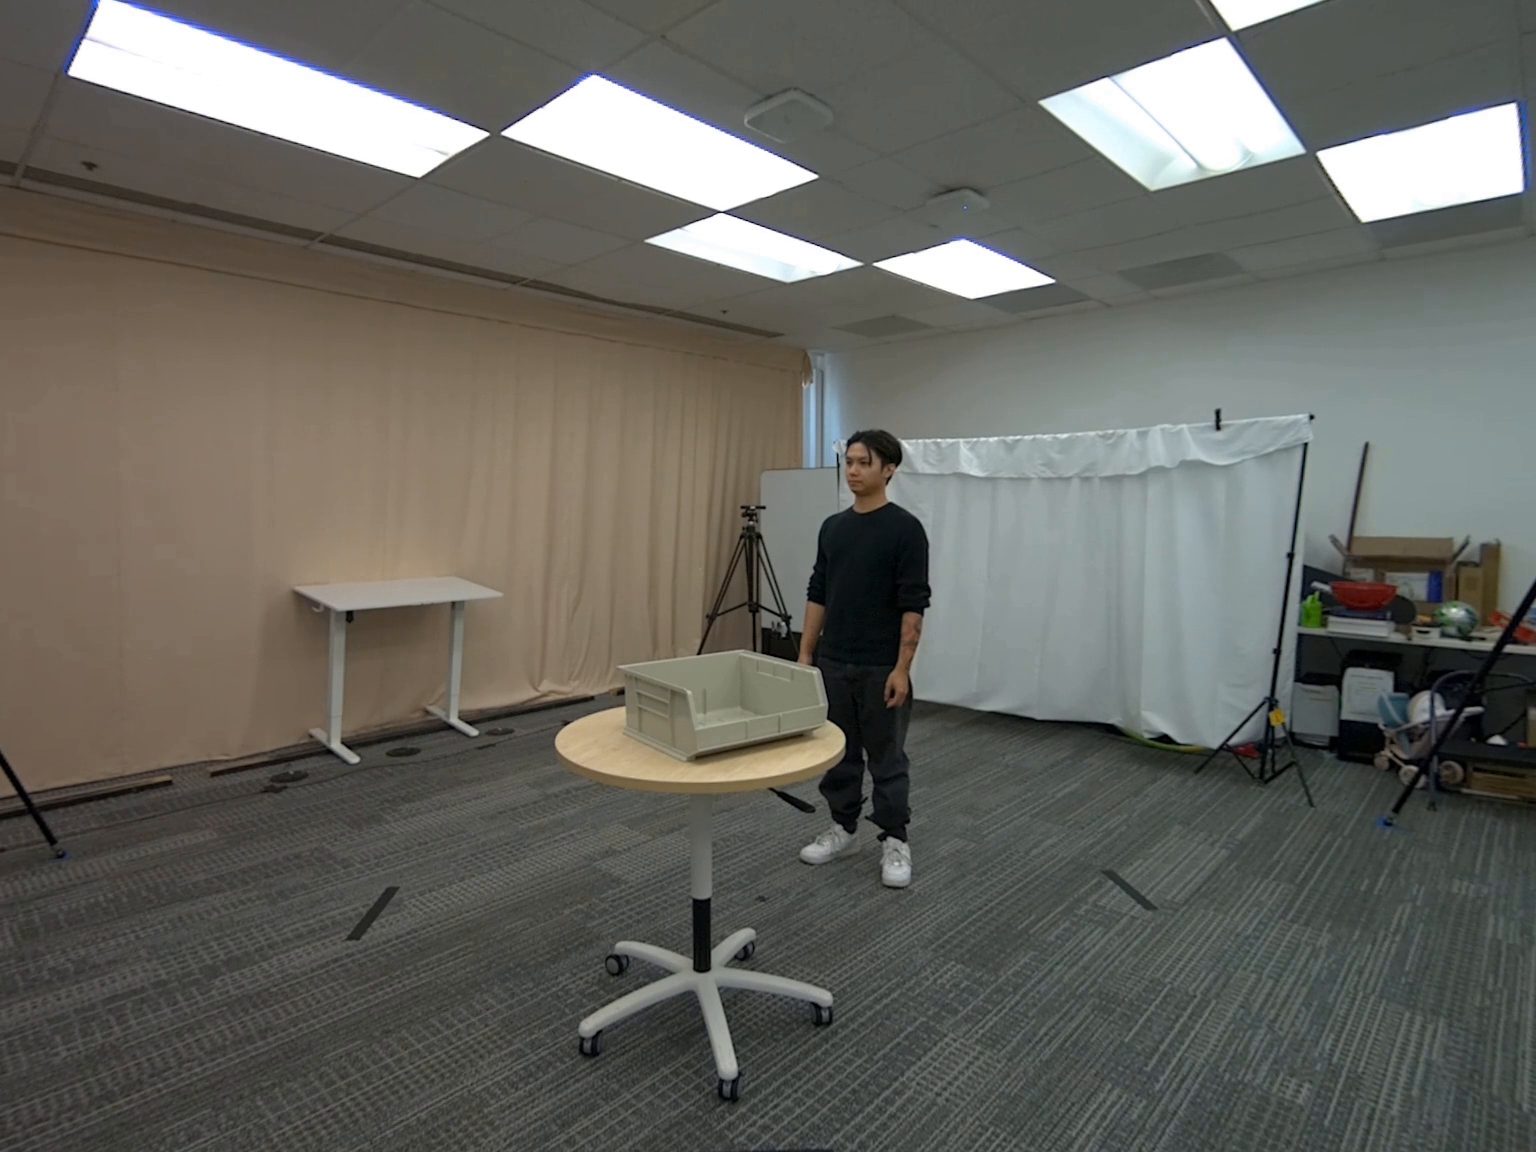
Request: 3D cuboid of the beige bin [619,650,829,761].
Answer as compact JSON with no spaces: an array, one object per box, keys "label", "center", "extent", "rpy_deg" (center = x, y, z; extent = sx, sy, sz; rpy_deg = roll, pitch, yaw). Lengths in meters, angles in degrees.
[{"label":"beige bin","center":[-0.122,0.334,2.226],"extent":[0.410,0.188,0.389],"rpy_deg":[-4,5,-38]}]
